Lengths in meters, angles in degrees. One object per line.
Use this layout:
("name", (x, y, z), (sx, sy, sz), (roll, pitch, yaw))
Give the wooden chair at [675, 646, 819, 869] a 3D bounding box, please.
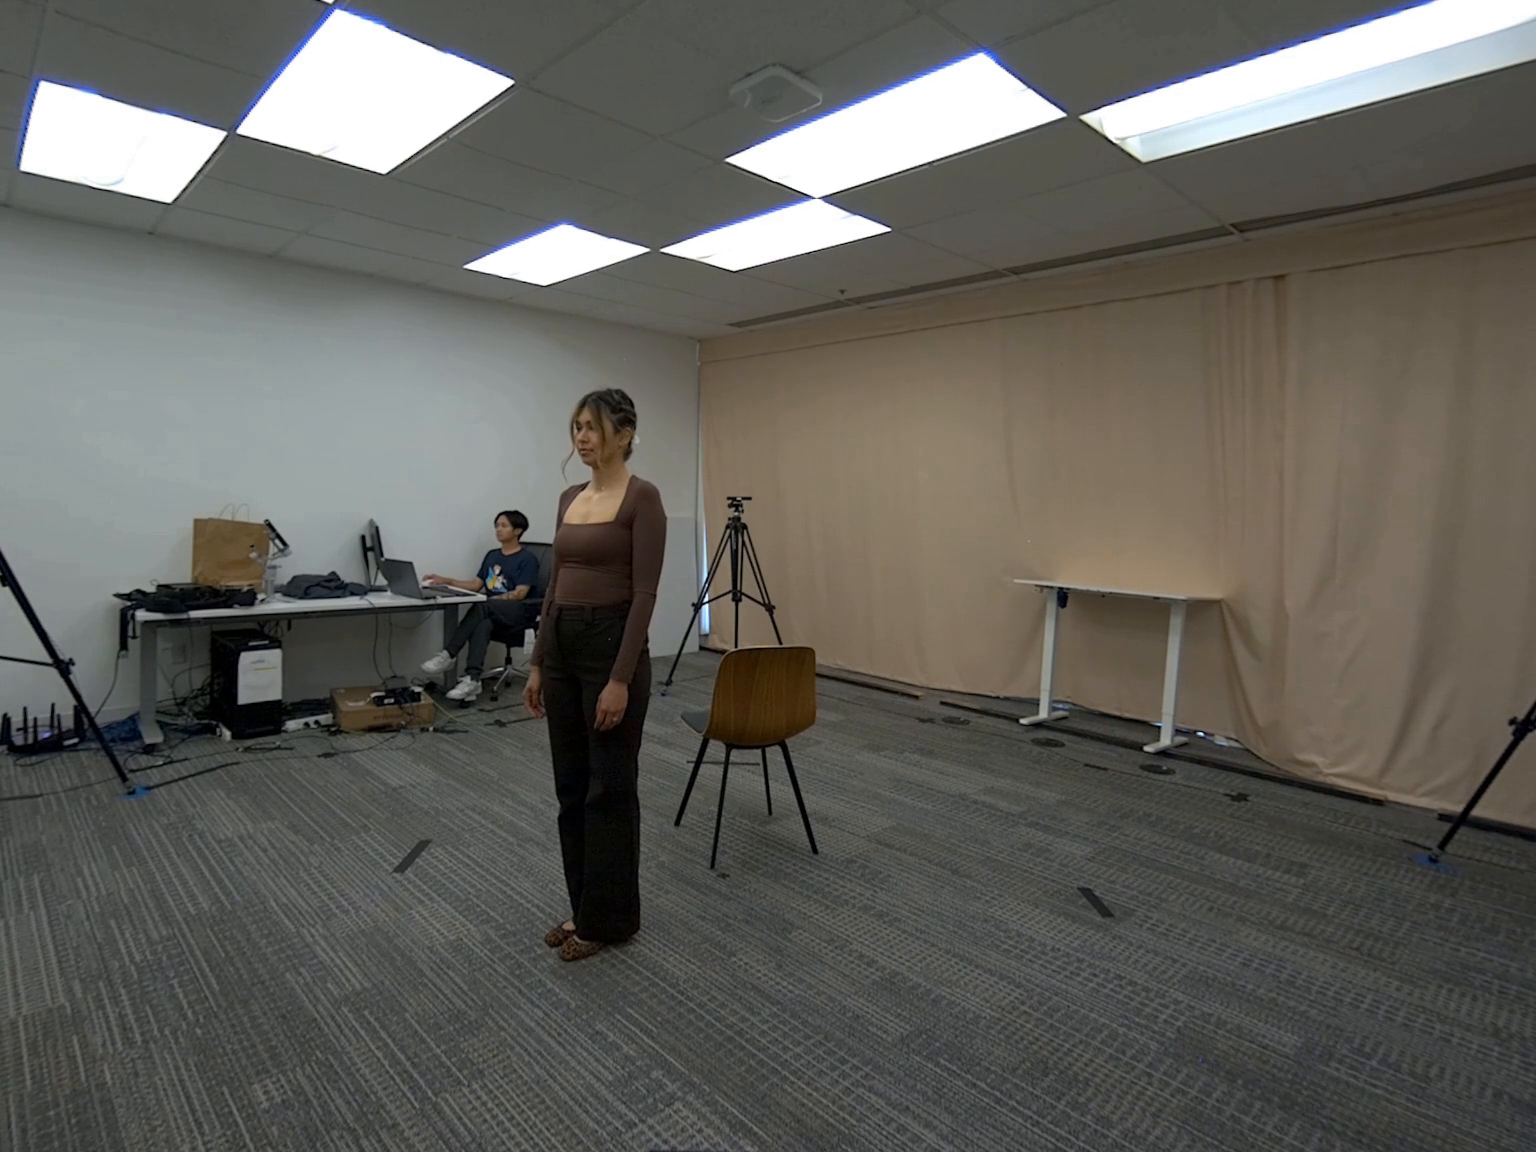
("wooden chair", (-0.096, 0.654, 3.420), (0.470, 0.873, 0.535), (0, 8, -23))
